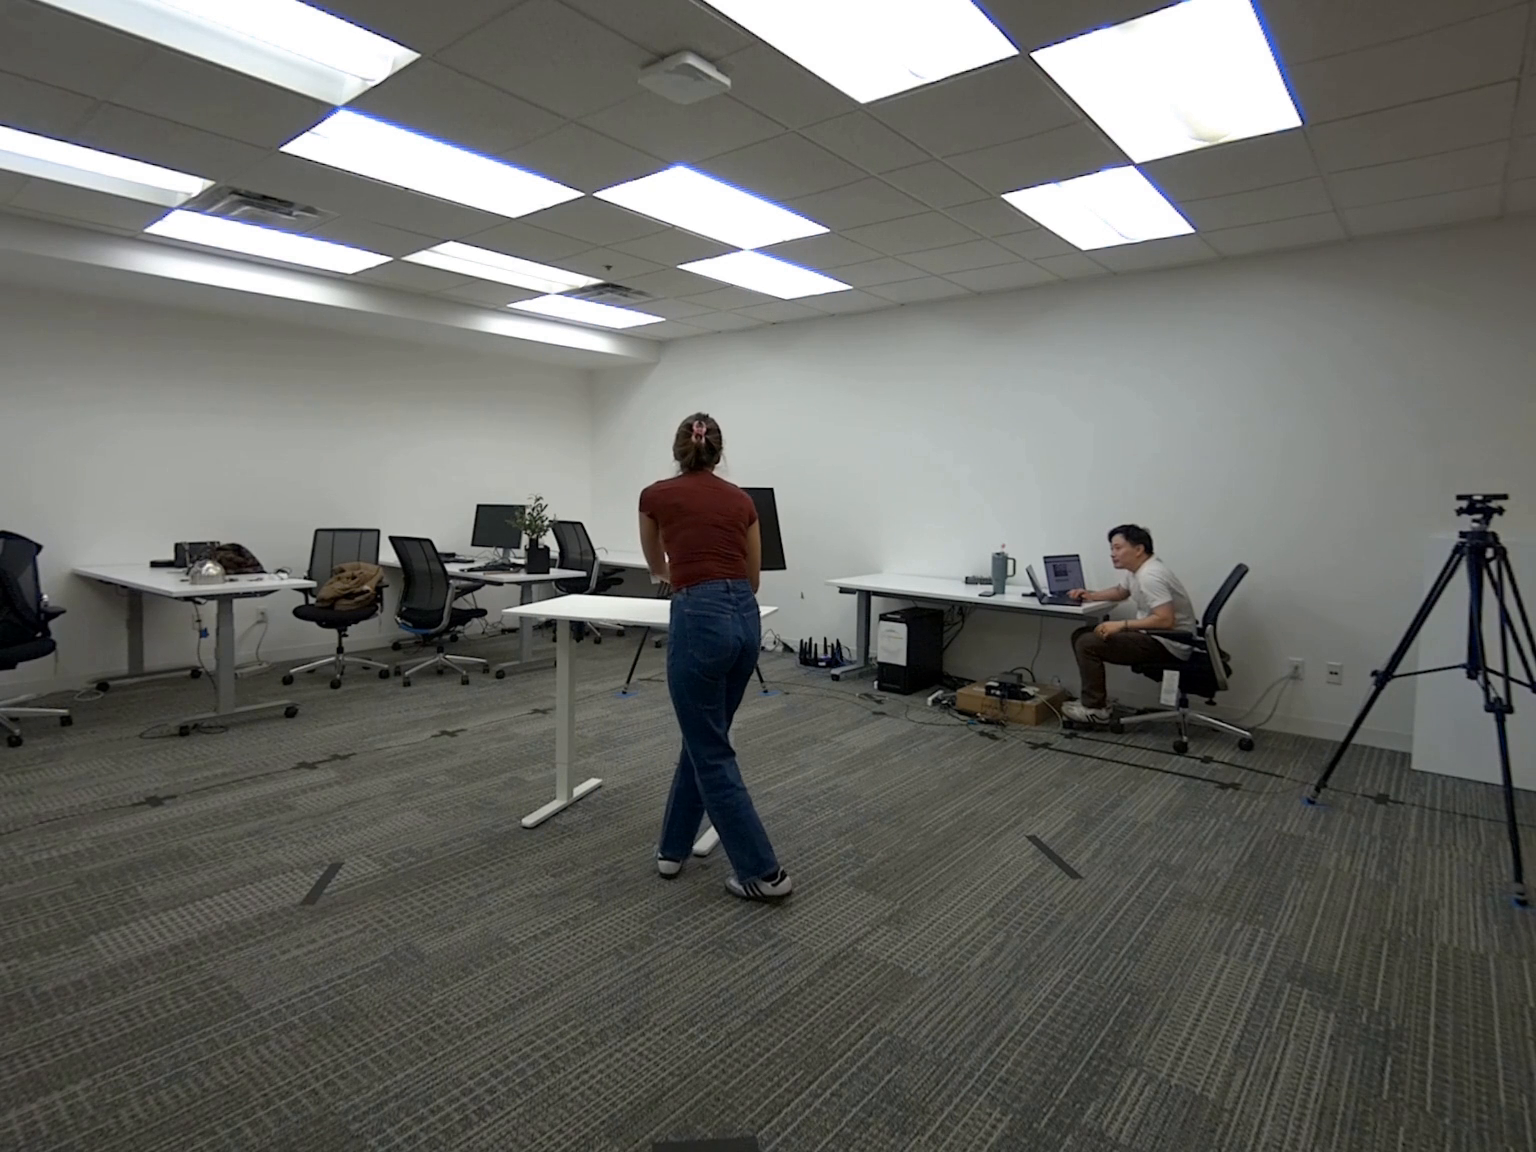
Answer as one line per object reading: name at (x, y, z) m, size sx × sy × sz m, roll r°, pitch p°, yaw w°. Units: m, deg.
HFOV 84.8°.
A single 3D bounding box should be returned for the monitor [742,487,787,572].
monitor at (-0.189, -0.100, 3.425) m, size 0.523 × 0.522 × 0.193 m, roll -2°, pitch 1°, yaw -36°
